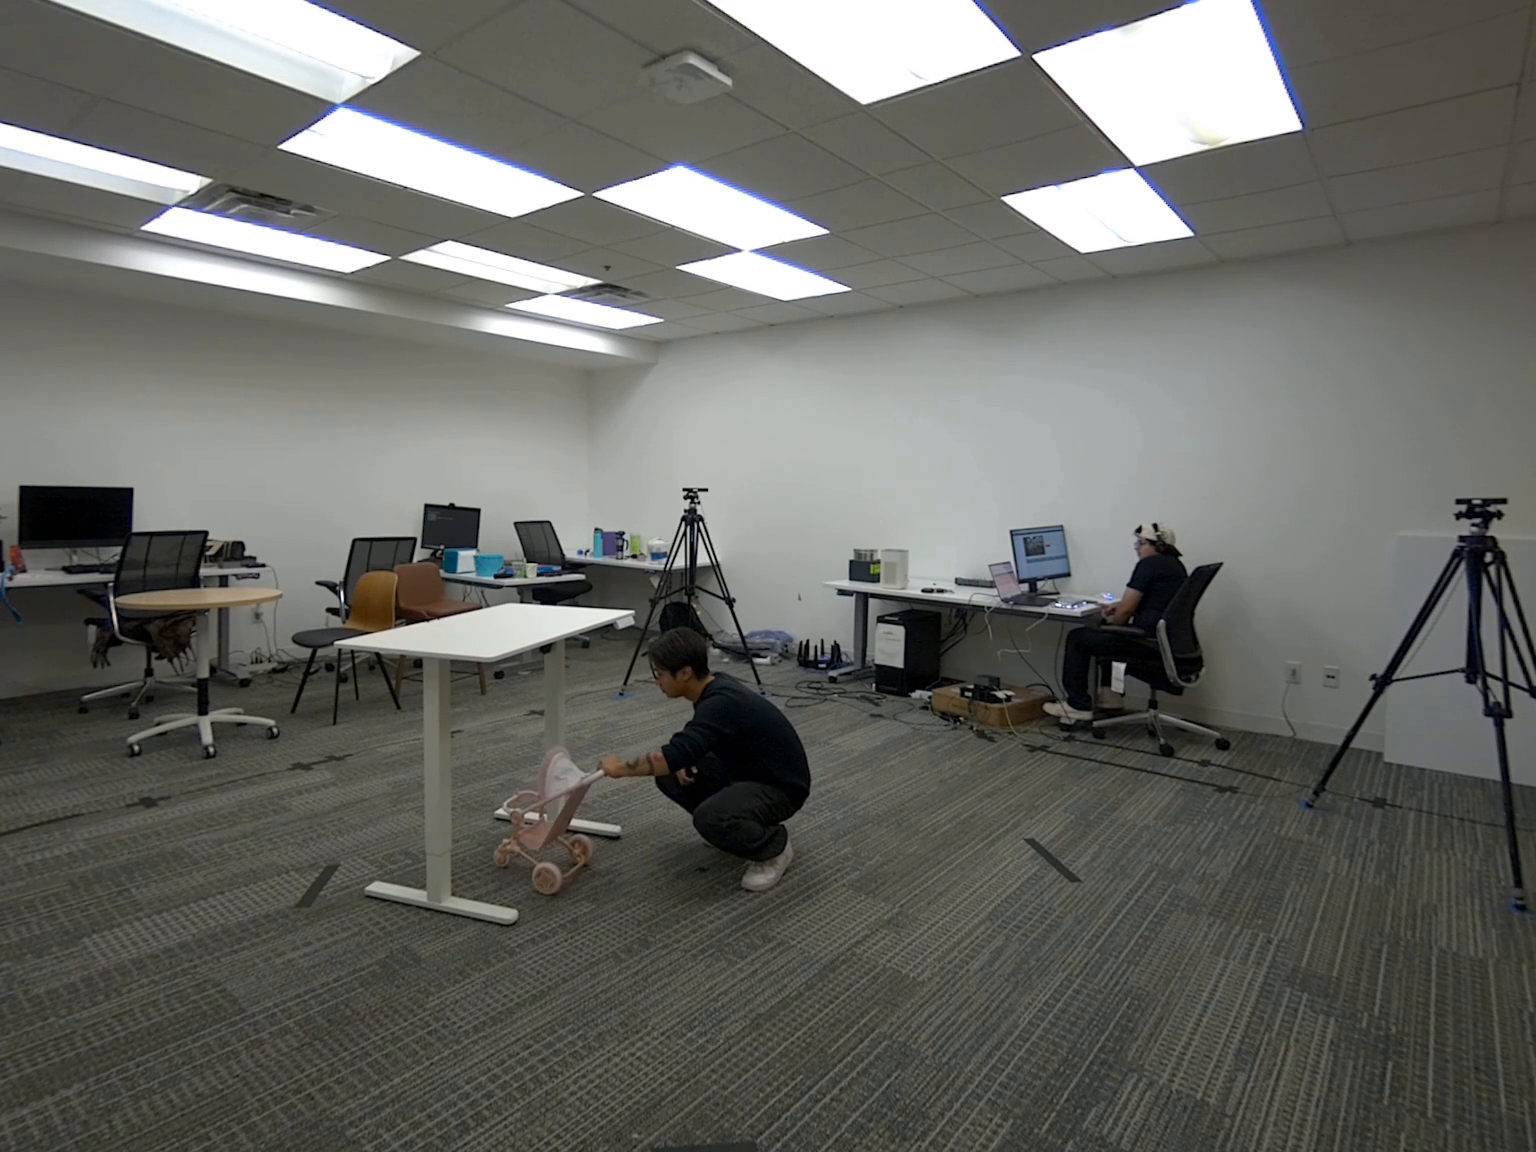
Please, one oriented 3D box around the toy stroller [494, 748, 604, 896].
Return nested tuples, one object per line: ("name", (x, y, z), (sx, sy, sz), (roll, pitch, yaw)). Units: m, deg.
("toy stroller", (-0.789, 0.846, 3.032), (0.350, 0.532, 0.276), (20, 10, 19))
